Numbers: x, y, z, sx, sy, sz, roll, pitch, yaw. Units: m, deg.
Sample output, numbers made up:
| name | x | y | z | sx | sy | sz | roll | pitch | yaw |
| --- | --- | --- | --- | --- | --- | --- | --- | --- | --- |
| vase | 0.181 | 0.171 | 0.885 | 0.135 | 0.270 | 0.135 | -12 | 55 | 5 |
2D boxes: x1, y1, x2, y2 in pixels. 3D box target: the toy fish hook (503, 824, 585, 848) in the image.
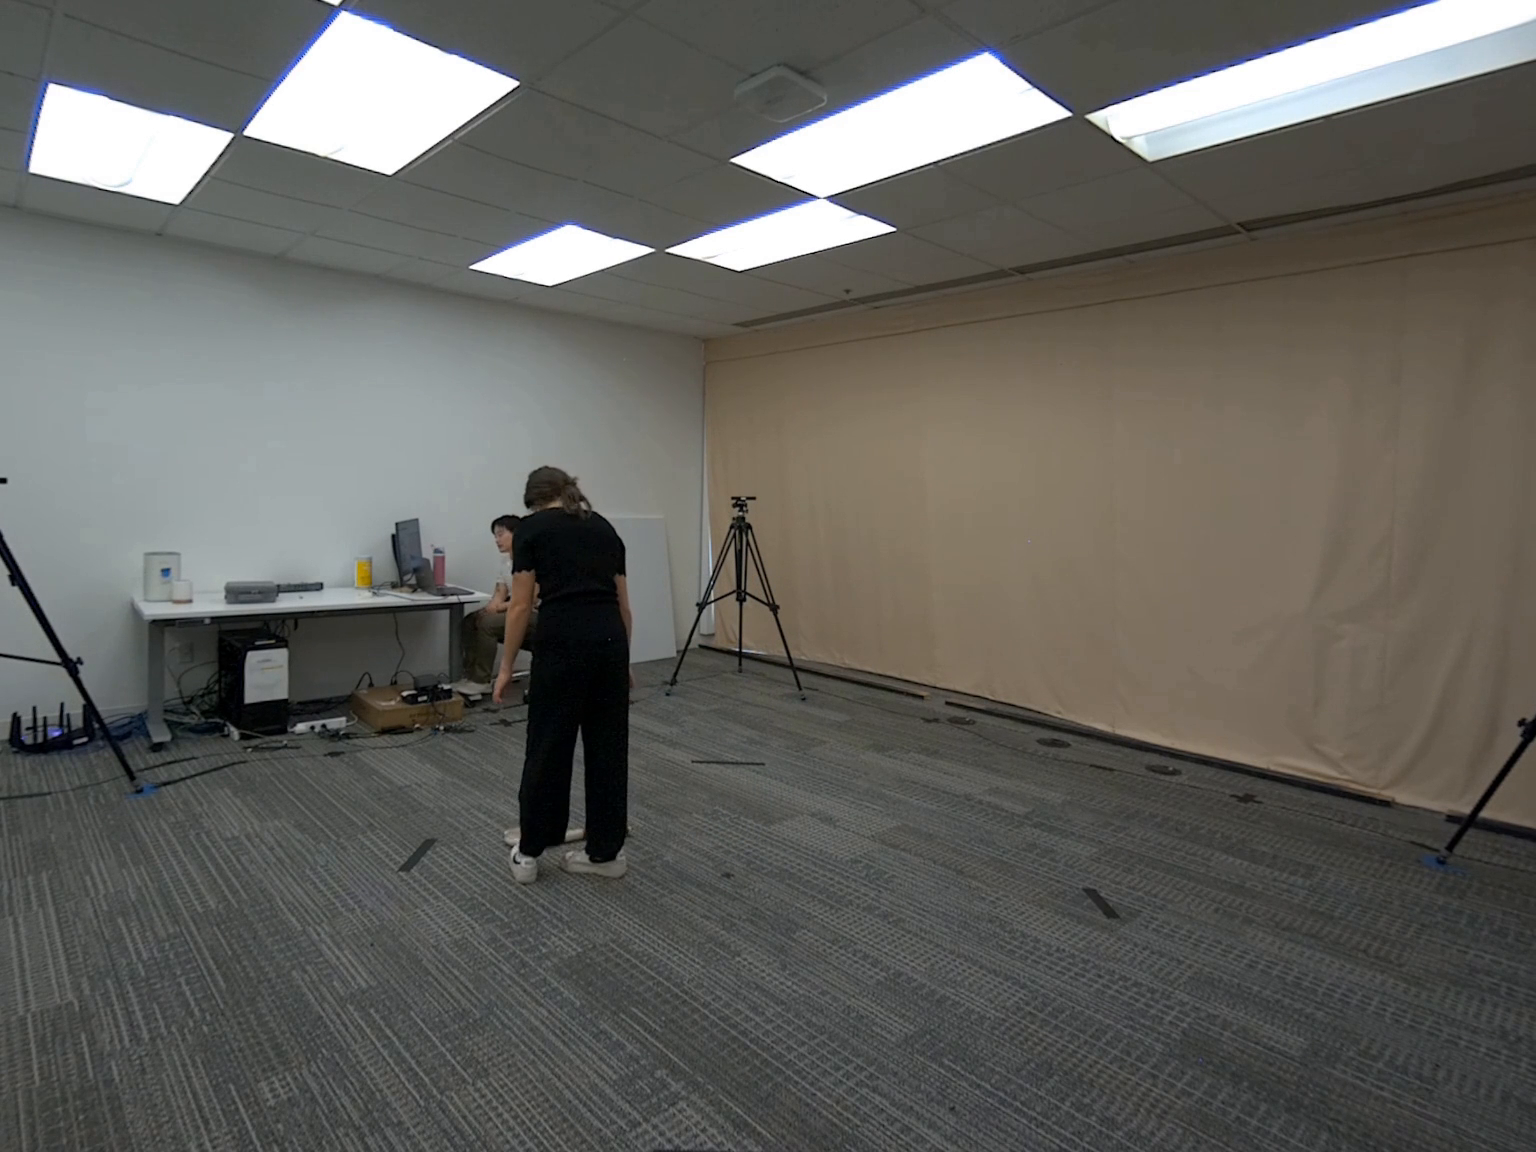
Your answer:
| name | x | y | z | sx | sy | sz | roll | pitch | yaw |
| --- | --- | --- | --- | --- | --- | --- | --- | --- | --- |
| toy fish hook | -0.819 | 1.042 | 3.429 | 0.500 | 0.048 | 0.228 | 0 | 7 | -16 |
